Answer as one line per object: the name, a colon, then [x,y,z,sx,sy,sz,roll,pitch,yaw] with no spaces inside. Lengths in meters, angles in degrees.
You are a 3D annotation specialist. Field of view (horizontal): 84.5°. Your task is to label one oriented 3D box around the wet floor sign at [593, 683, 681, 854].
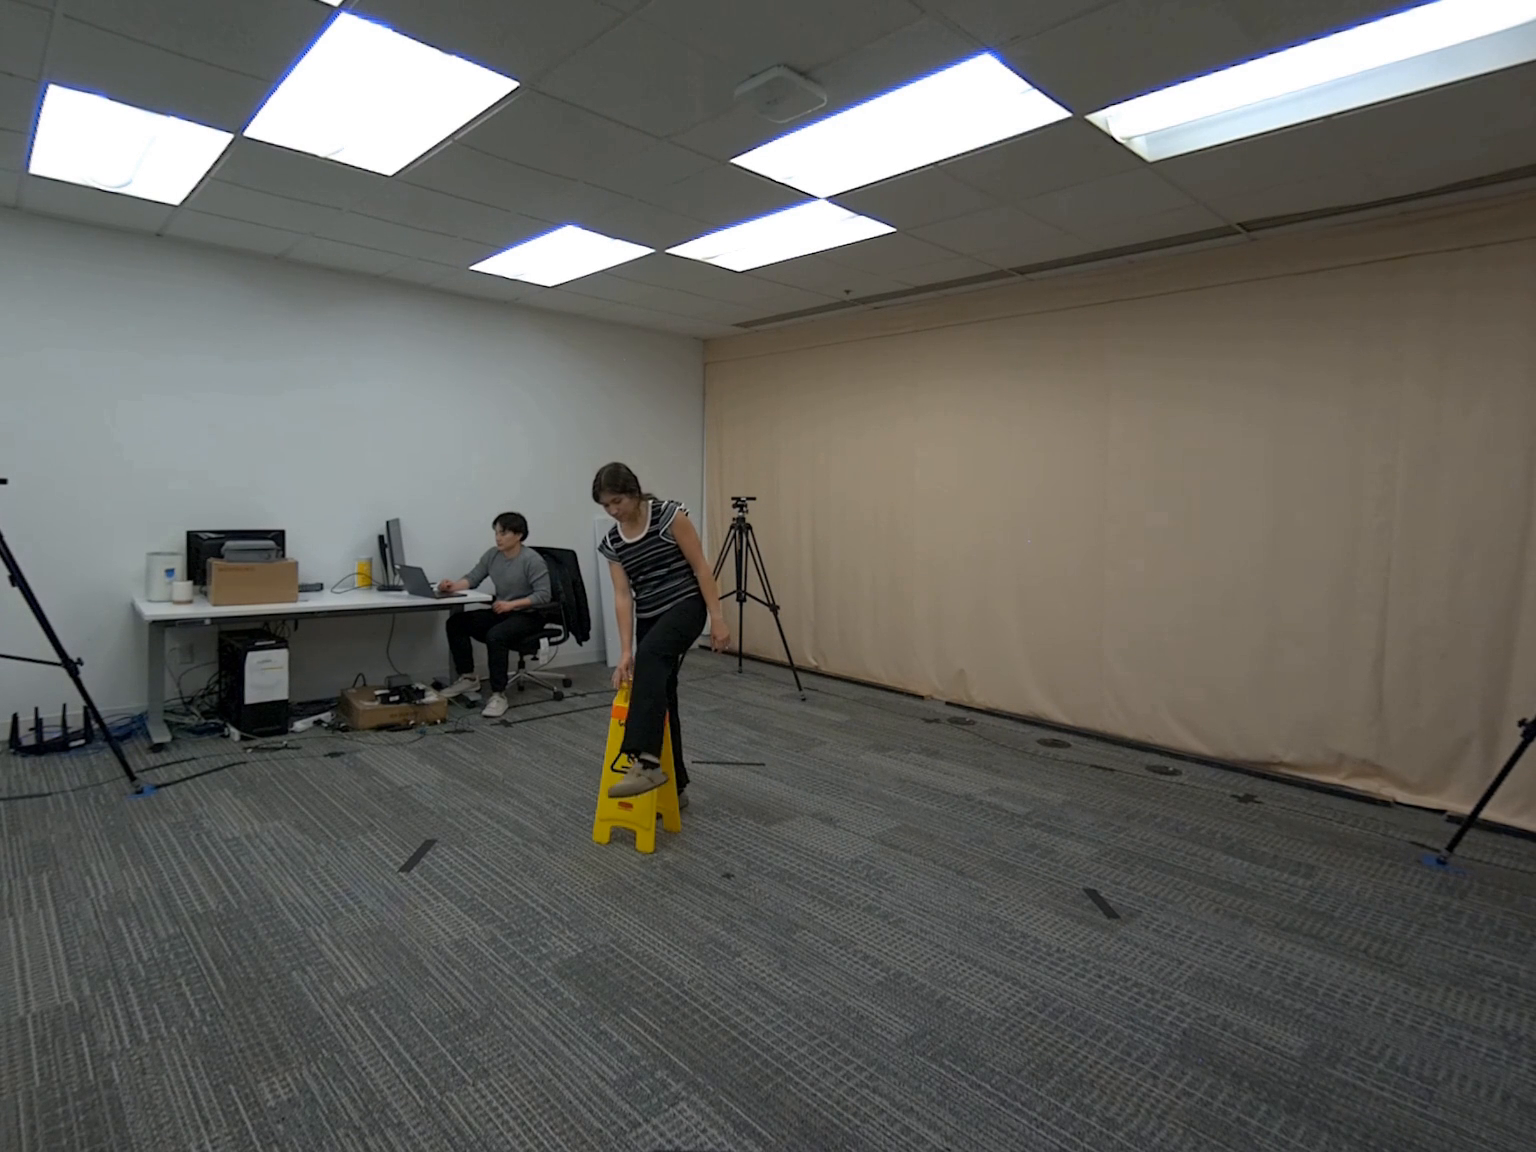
wet floor sign: [-0.538,0.747,3.443,0.287,0.645,0.285,4,2,21]
